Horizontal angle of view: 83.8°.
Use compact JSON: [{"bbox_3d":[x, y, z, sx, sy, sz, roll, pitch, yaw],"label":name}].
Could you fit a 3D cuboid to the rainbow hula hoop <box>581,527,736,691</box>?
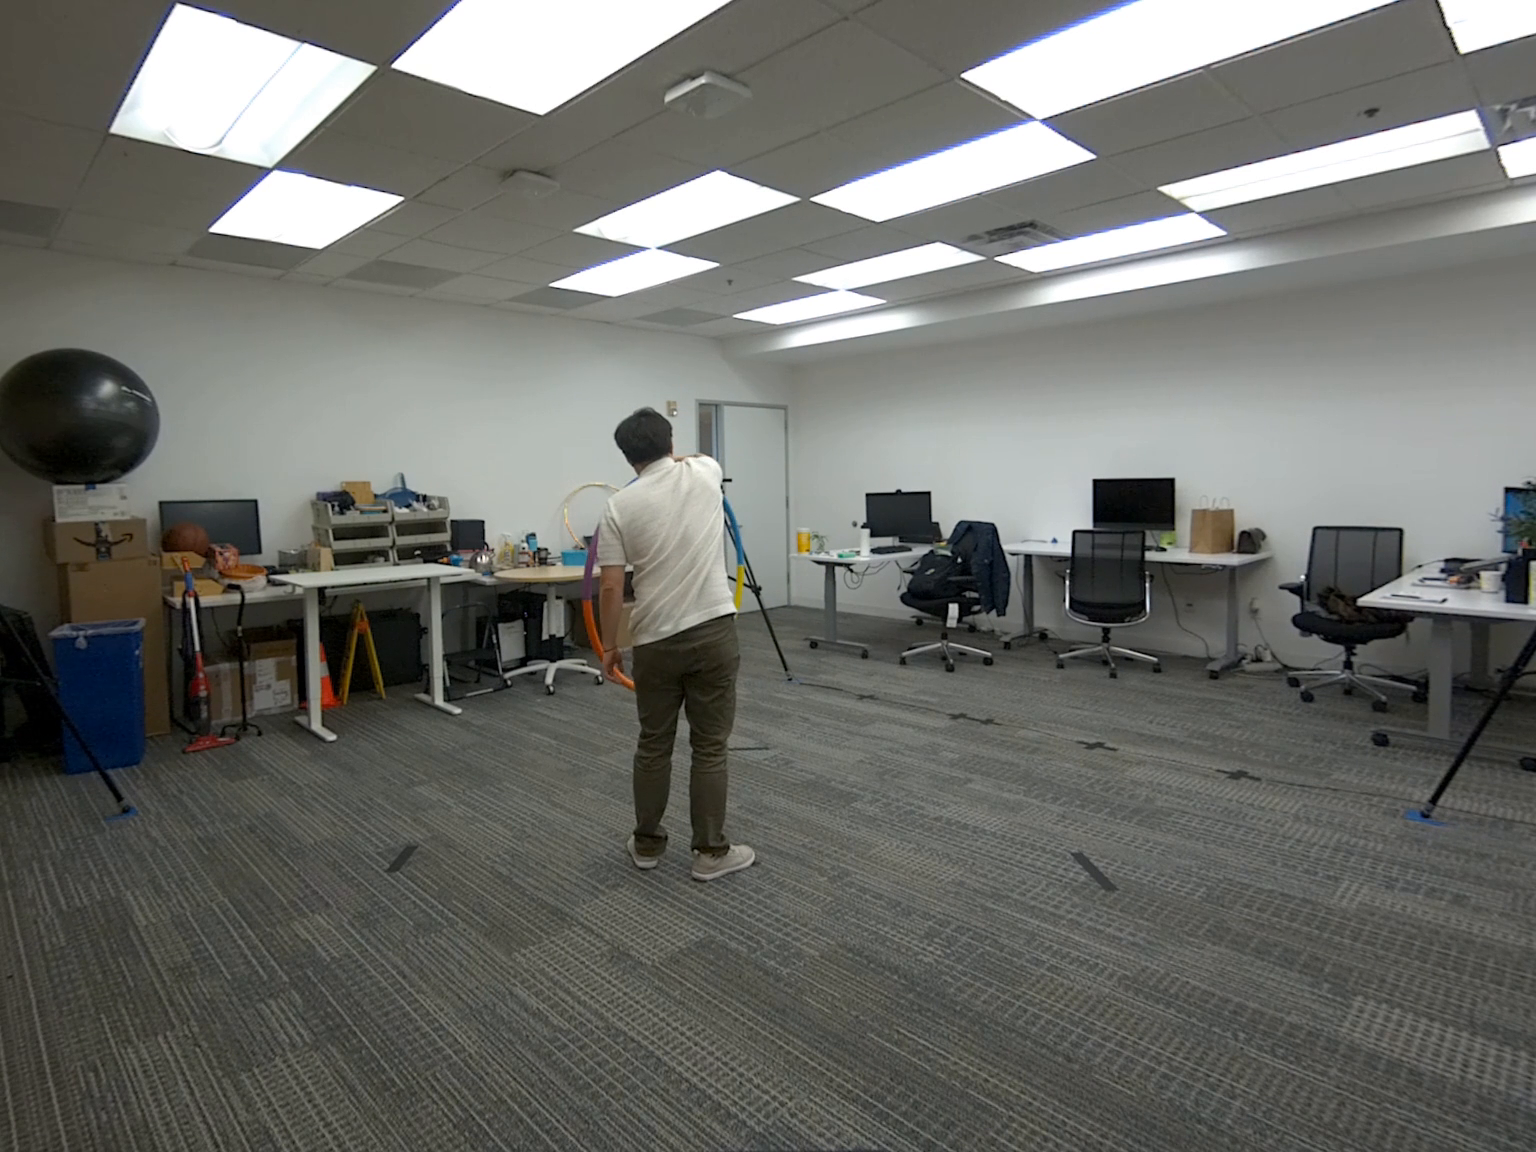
[{"bbox_3d":[-0.421,0.014,3.693,0.036,0.973,0.954,6,8,39],"label":"rainbow hula hoop"}]
